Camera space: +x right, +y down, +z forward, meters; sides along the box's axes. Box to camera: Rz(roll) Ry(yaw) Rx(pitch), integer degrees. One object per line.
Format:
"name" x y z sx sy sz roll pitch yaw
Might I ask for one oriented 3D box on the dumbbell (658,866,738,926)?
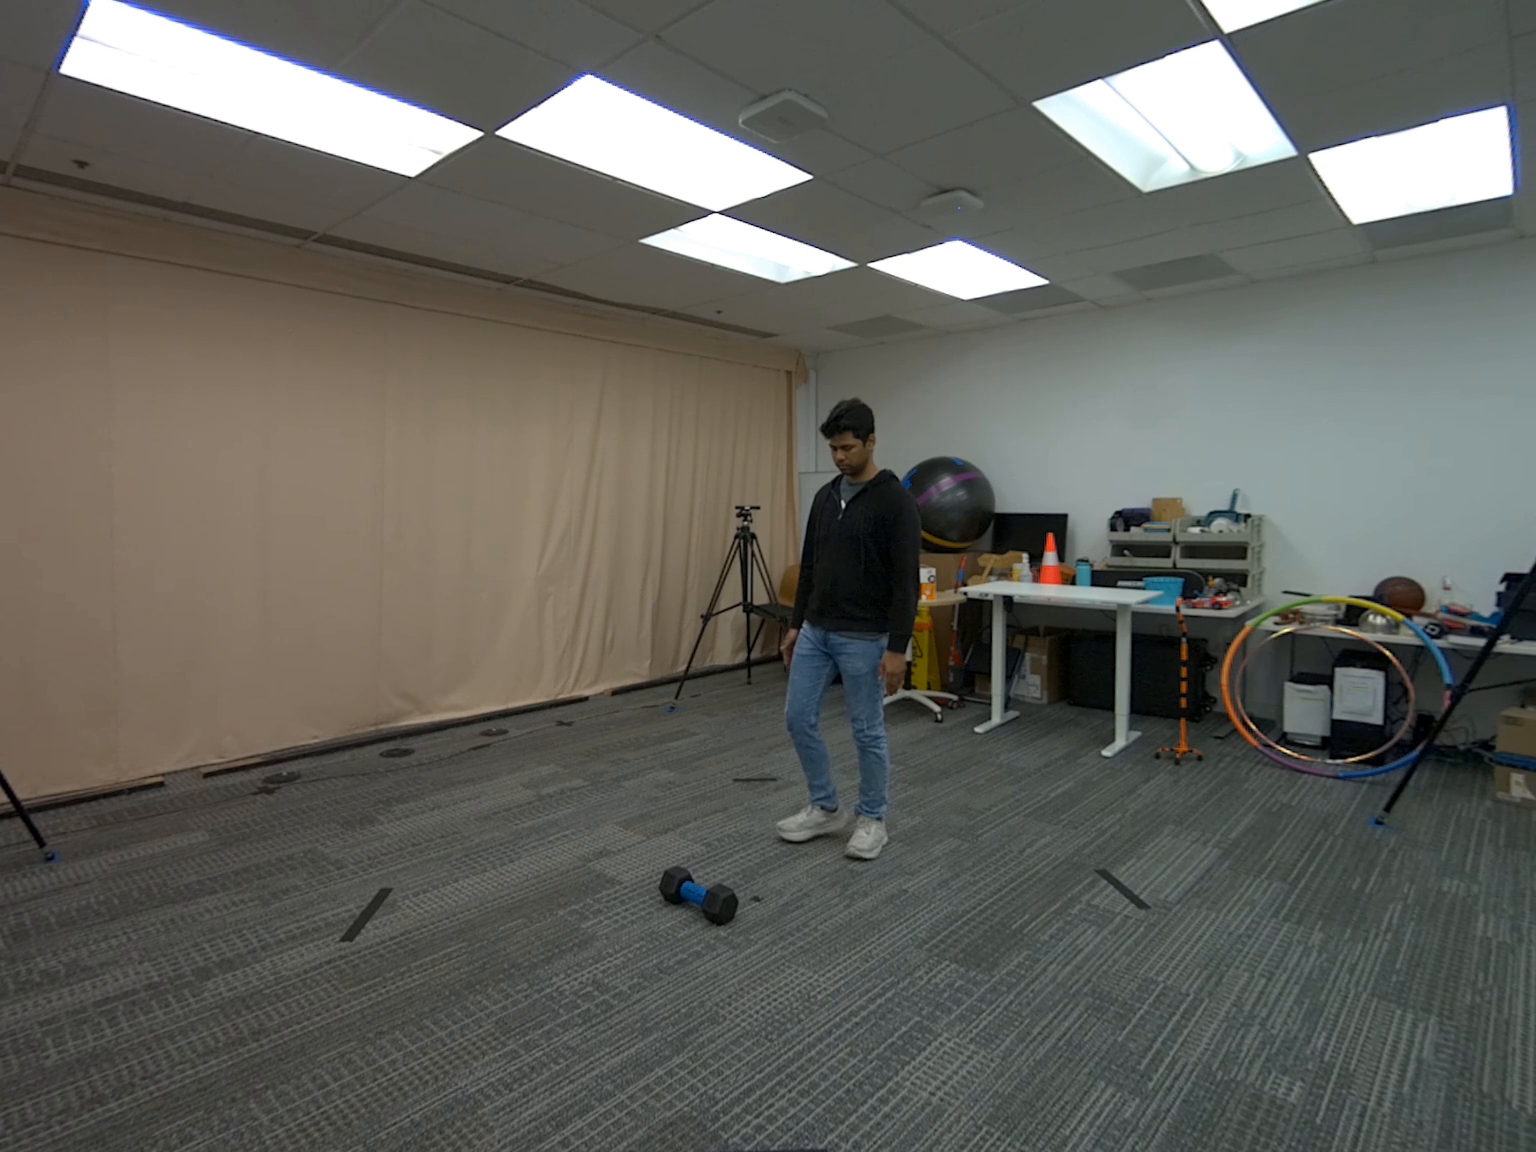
"dumbbell" -0.236 1.097 2.898 0.303 0.123 0.105 5 -25 42
